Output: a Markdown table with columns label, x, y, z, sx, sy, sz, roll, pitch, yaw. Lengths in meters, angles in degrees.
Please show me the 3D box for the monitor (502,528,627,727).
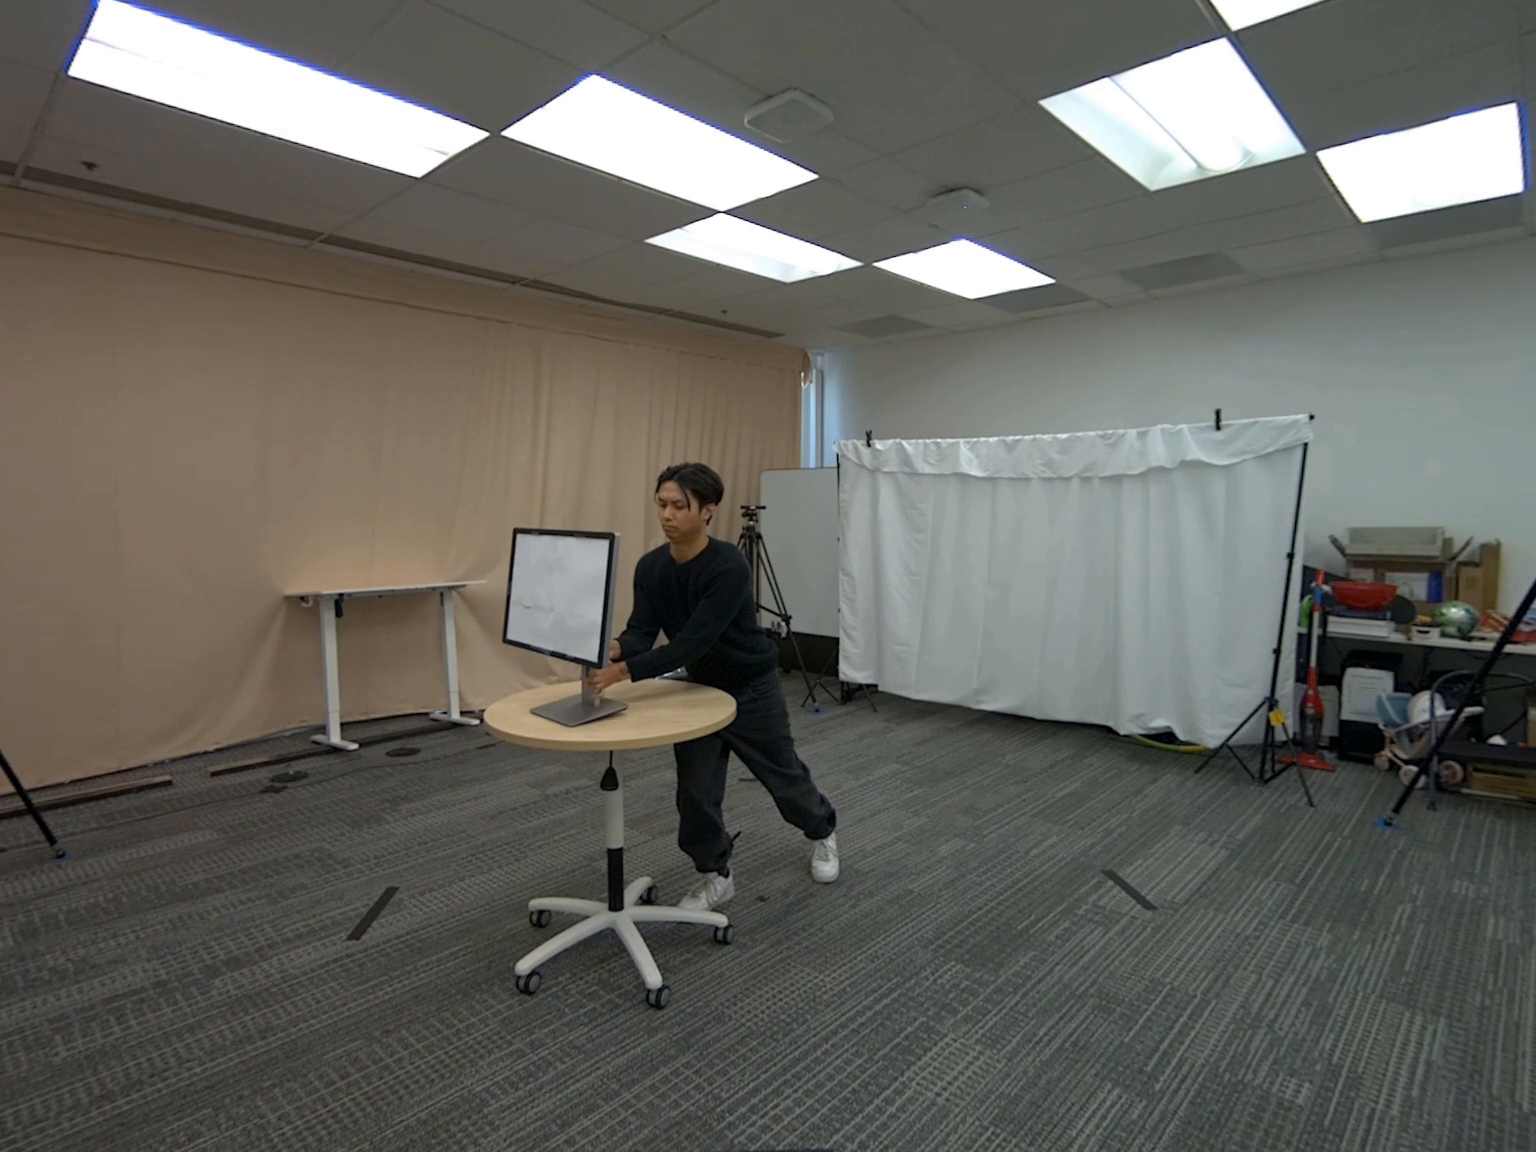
| label | x | y | z | sx | sy | sz | roll | pitch | yaw |
| --- | --- | --- | --- | --- | --- | --- | --- | --- | --- |
| monitor | -0.583 | 0.135 | 2.465 | 0.170 | 0.512 | 0.548 | -15 | 15 | -43 |
